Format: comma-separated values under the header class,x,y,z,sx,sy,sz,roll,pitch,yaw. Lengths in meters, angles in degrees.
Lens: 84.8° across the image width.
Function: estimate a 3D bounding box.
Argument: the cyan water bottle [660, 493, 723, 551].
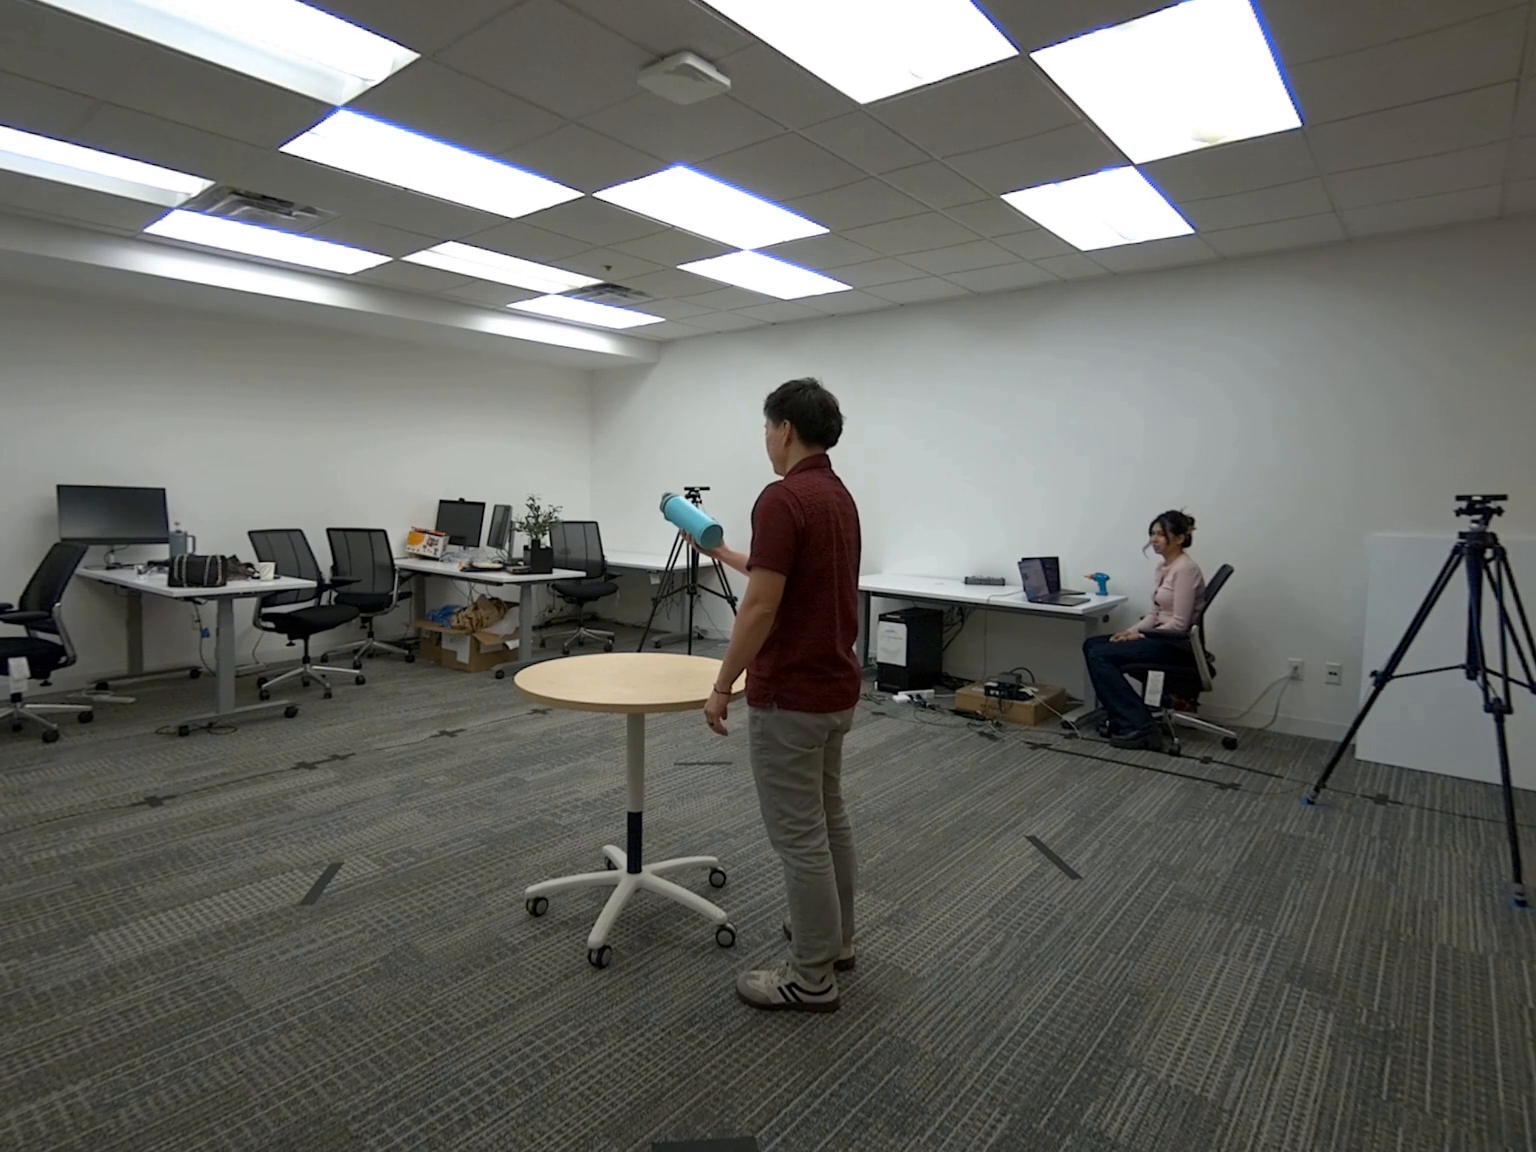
class,x,y,z,sx,sy,sz,roll,pitch,yaw
cyan water bottle,-0.268,-0.186,2.726,0.089,0.091,0.296,-3,27,-38
